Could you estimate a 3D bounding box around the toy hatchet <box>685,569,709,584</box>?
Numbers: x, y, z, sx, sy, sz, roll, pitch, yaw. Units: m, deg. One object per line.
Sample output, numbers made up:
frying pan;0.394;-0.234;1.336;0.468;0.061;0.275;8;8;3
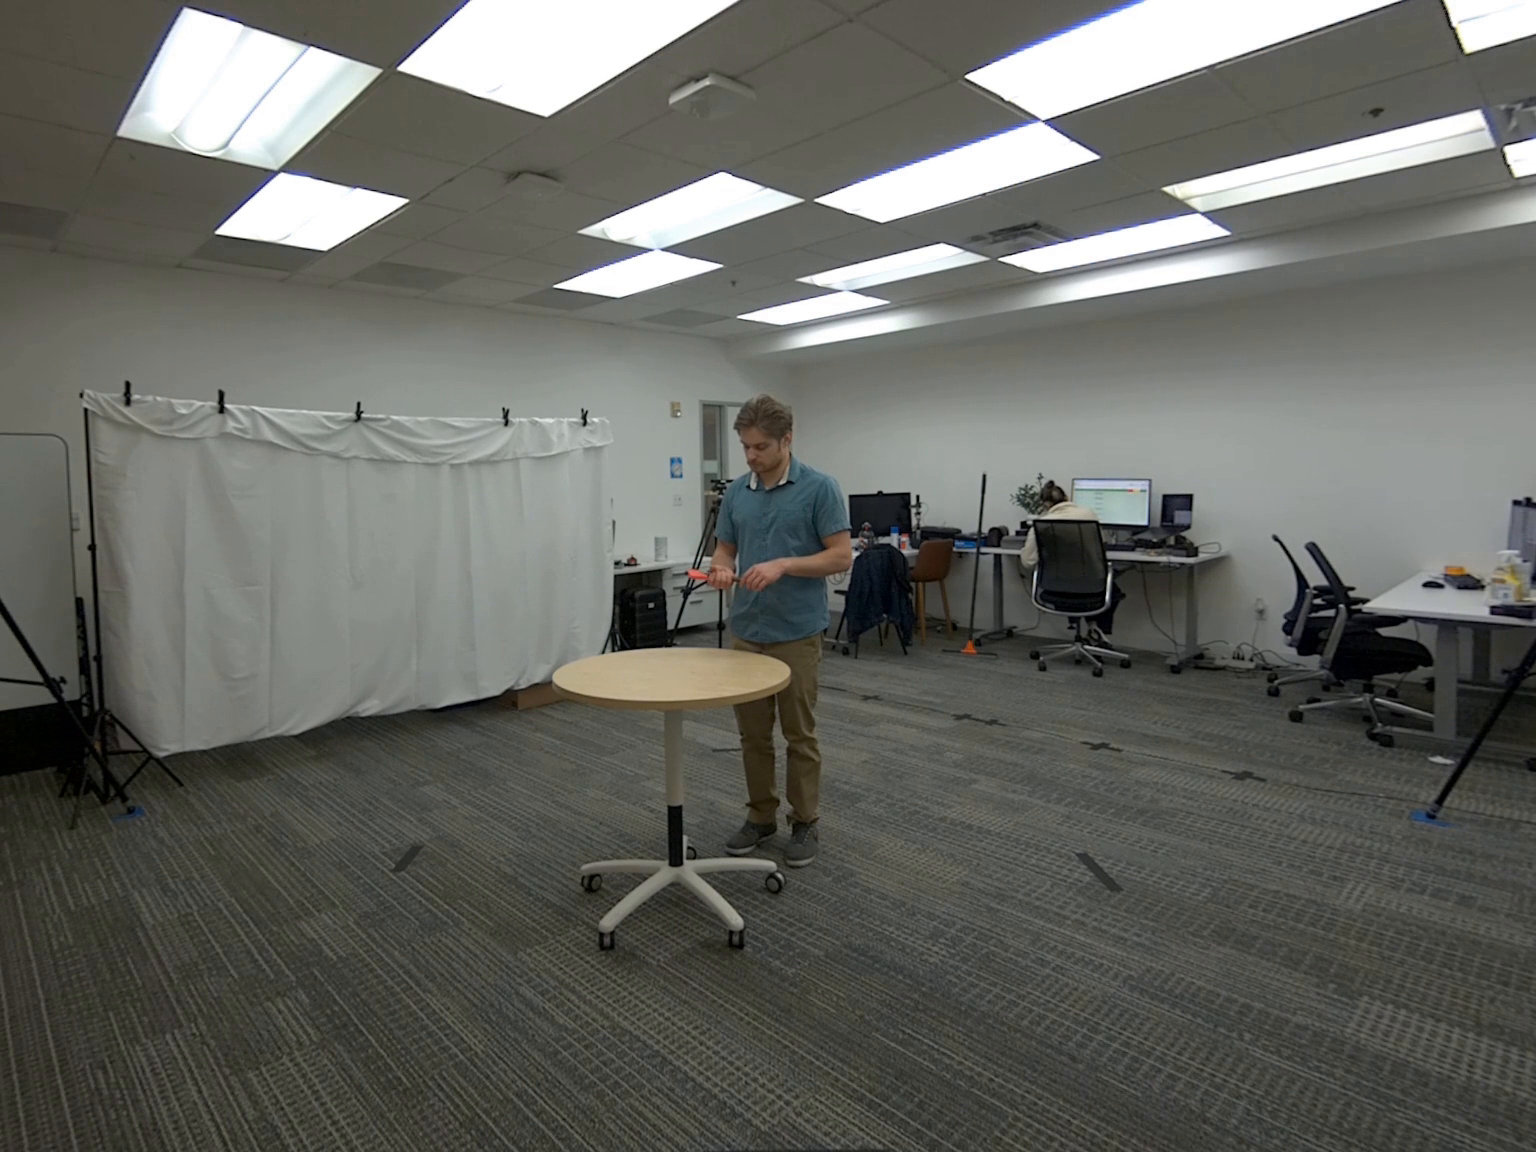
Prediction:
toy hatchet;-0.154;-0.001;2.998;0.273;0.029;0.130;4;5;12
